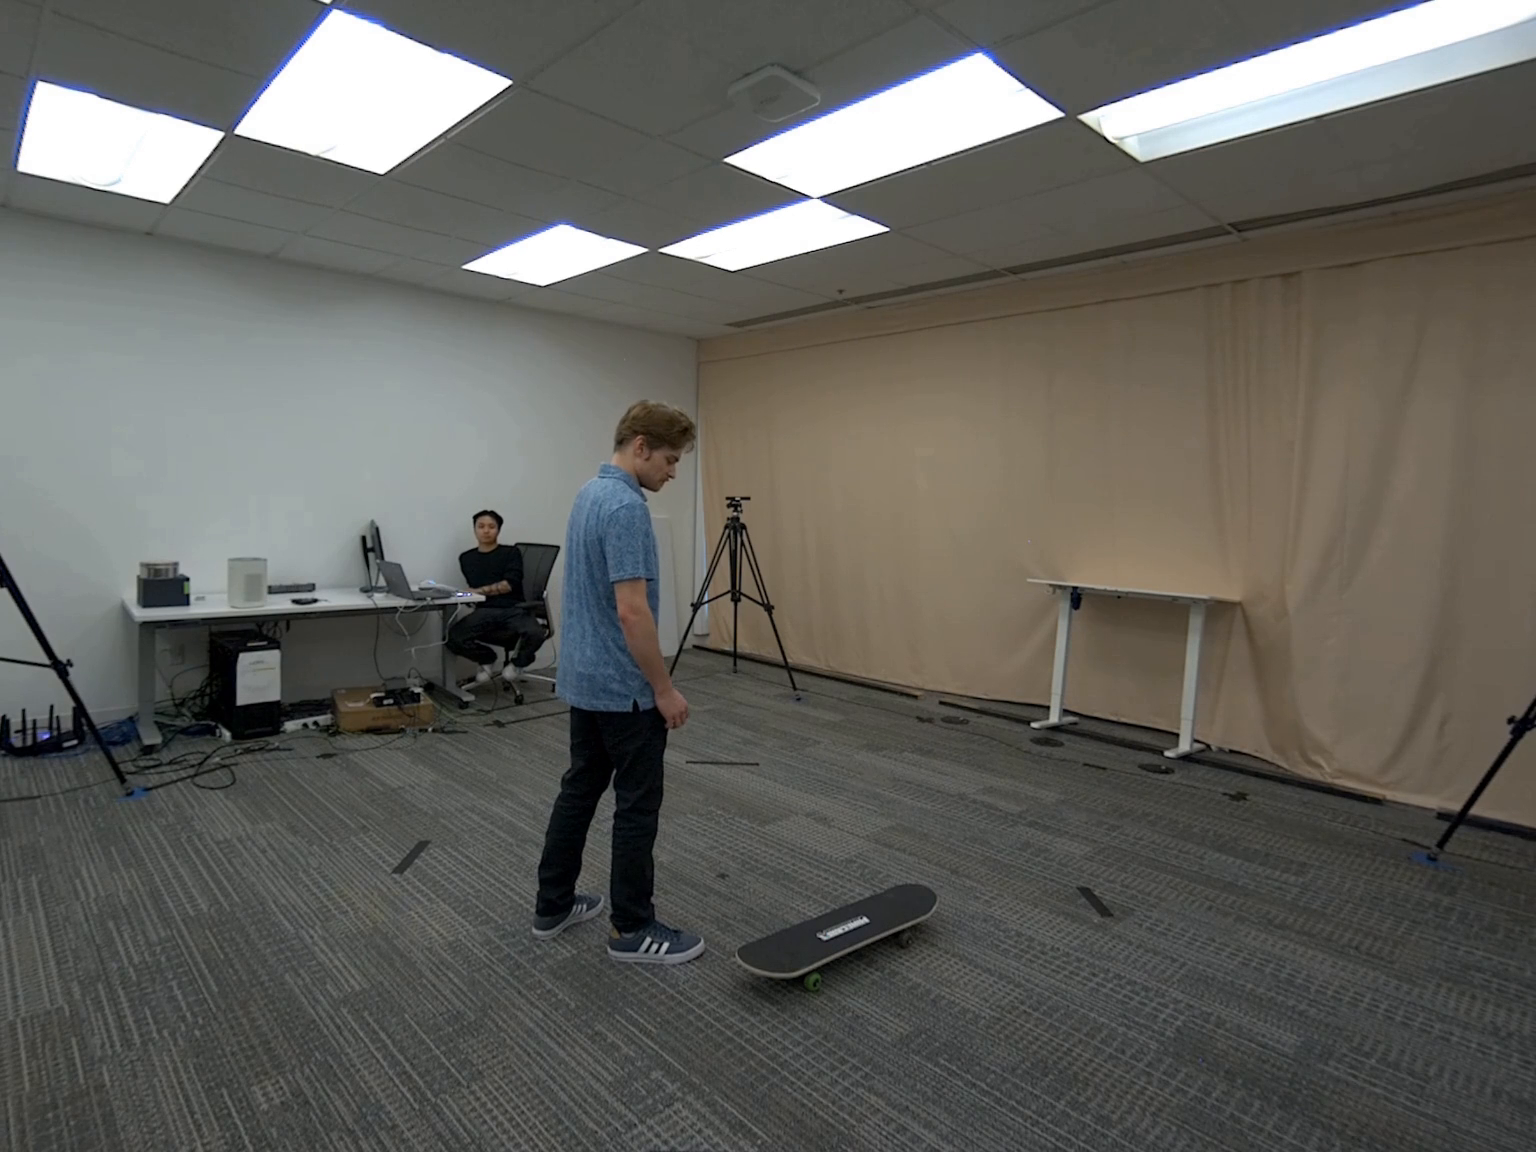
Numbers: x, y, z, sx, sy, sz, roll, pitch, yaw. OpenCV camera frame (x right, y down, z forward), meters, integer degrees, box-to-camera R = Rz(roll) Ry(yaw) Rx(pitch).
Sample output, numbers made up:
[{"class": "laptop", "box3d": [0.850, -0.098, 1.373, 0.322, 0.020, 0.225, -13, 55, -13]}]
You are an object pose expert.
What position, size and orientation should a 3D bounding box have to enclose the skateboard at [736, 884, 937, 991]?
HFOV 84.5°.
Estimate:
[{"class": "skateboard", "box3d": [0.229, 1.108, 2.569, 0.768, 0.110, 0.198, -3, 7, -38]}]
